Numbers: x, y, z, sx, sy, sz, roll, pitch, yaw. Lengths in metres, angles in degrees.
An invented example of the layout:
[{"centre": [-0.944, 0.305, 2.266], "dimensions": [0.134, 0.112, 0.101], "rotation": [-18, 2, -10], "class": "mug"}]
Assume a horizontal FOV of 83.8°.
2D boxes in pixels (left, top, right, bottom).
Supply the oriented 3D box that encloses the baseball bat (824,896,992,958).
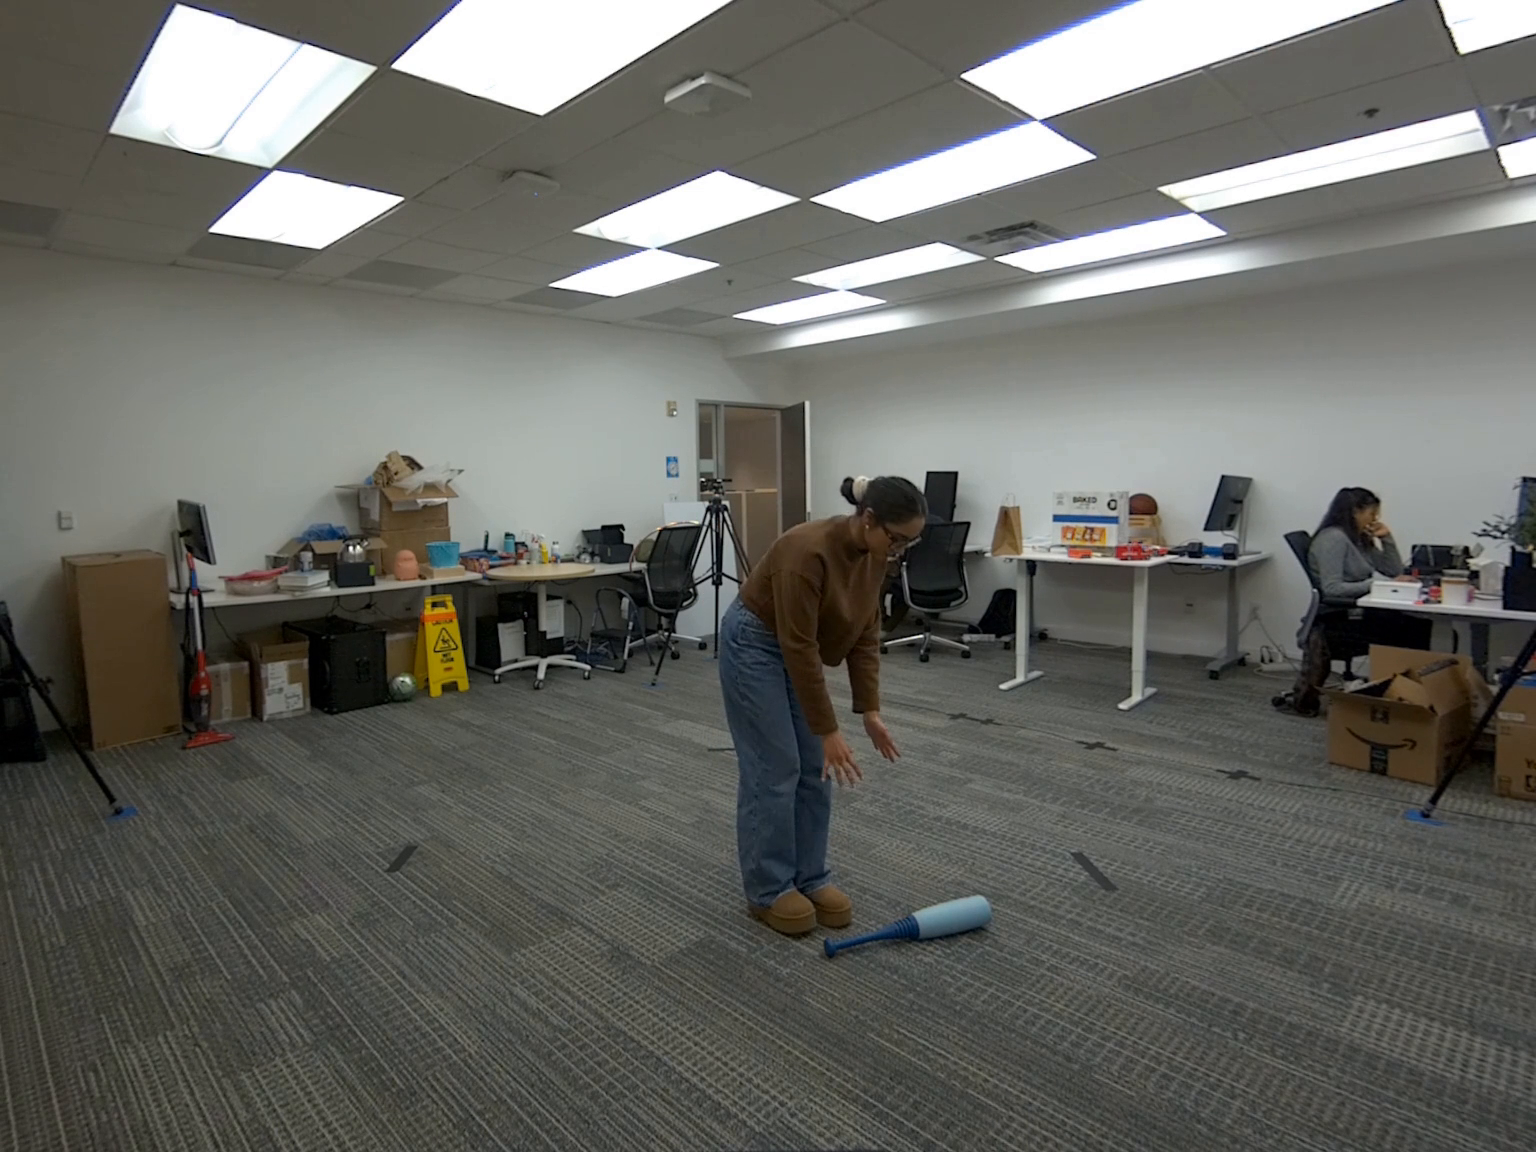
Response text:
[{"centre": [0.424, 1.055, 2.574], "dimensions": [0.536, 0.088, 0.091], "rotation": [-6, 6, -15], "class": "baseball bat"}]
